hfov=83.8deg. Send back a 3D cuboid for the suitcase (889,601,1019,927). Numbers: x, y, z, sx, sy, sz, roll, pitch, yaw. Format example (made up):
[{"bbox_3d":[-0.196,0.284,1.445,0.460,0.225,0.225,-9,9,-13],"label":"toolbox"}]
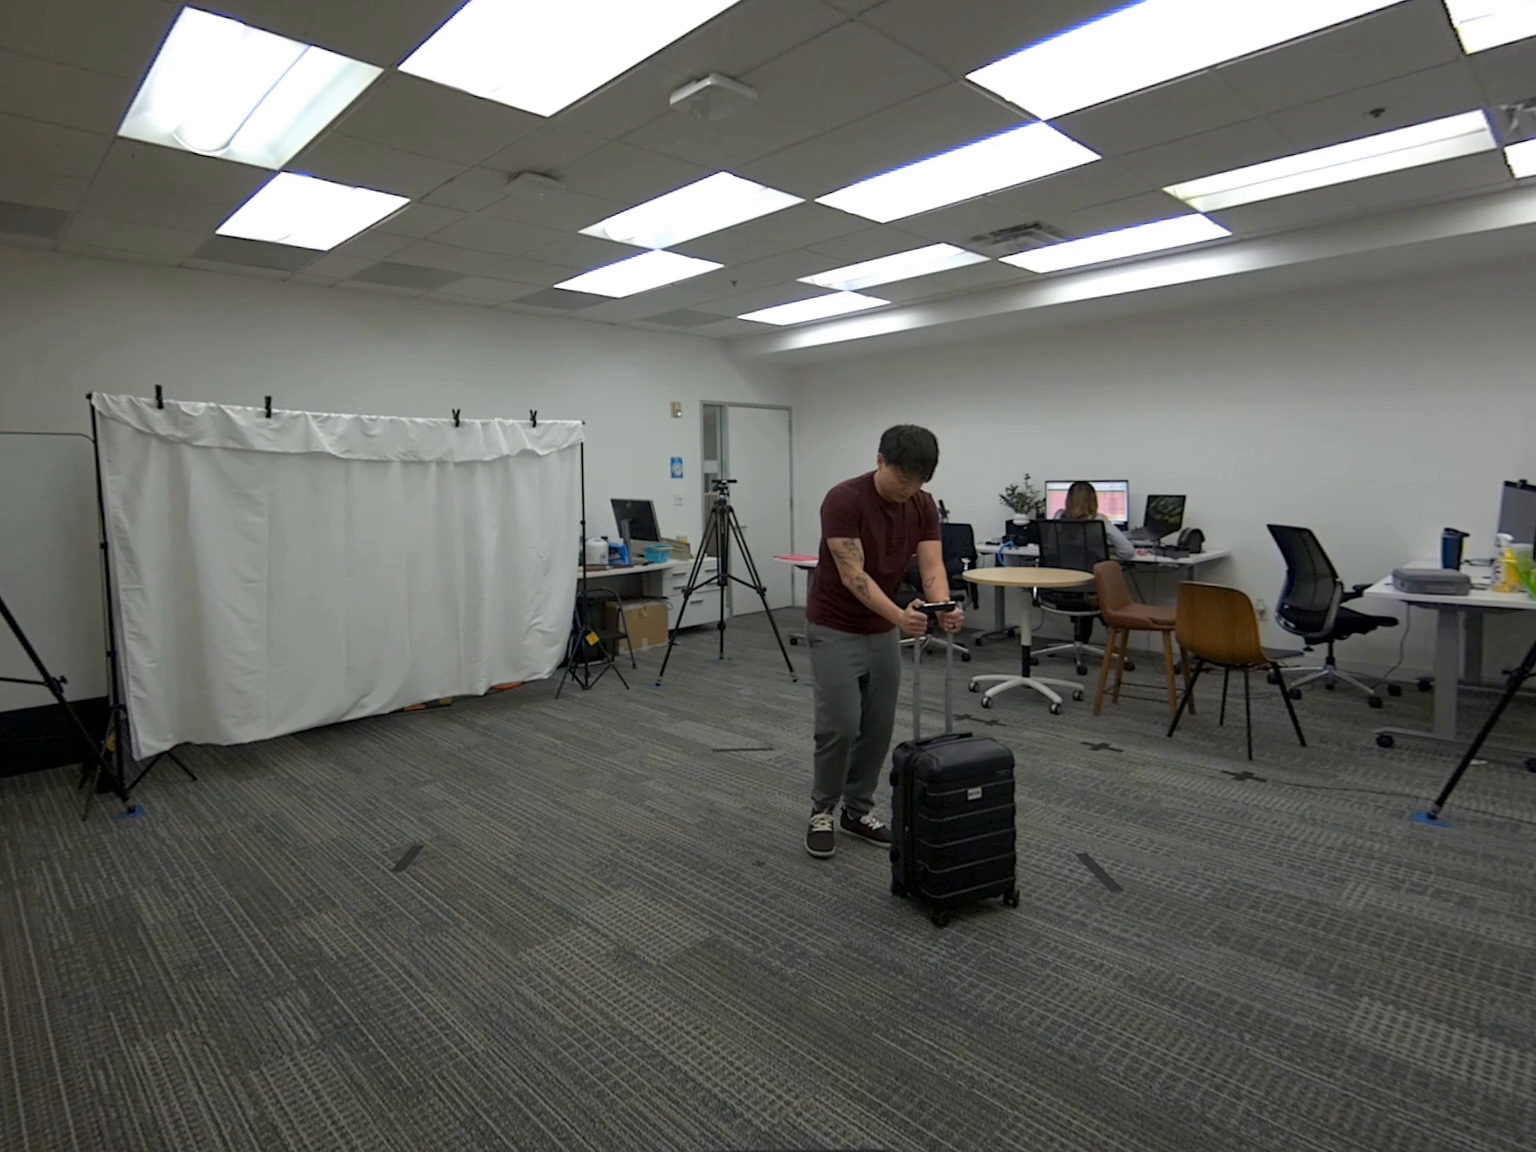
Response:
[{"bbox_3d":[0.609,0.604,2.759,0.377,0.972,0.263,-5,8,-21],"label":"suitcase"}]
